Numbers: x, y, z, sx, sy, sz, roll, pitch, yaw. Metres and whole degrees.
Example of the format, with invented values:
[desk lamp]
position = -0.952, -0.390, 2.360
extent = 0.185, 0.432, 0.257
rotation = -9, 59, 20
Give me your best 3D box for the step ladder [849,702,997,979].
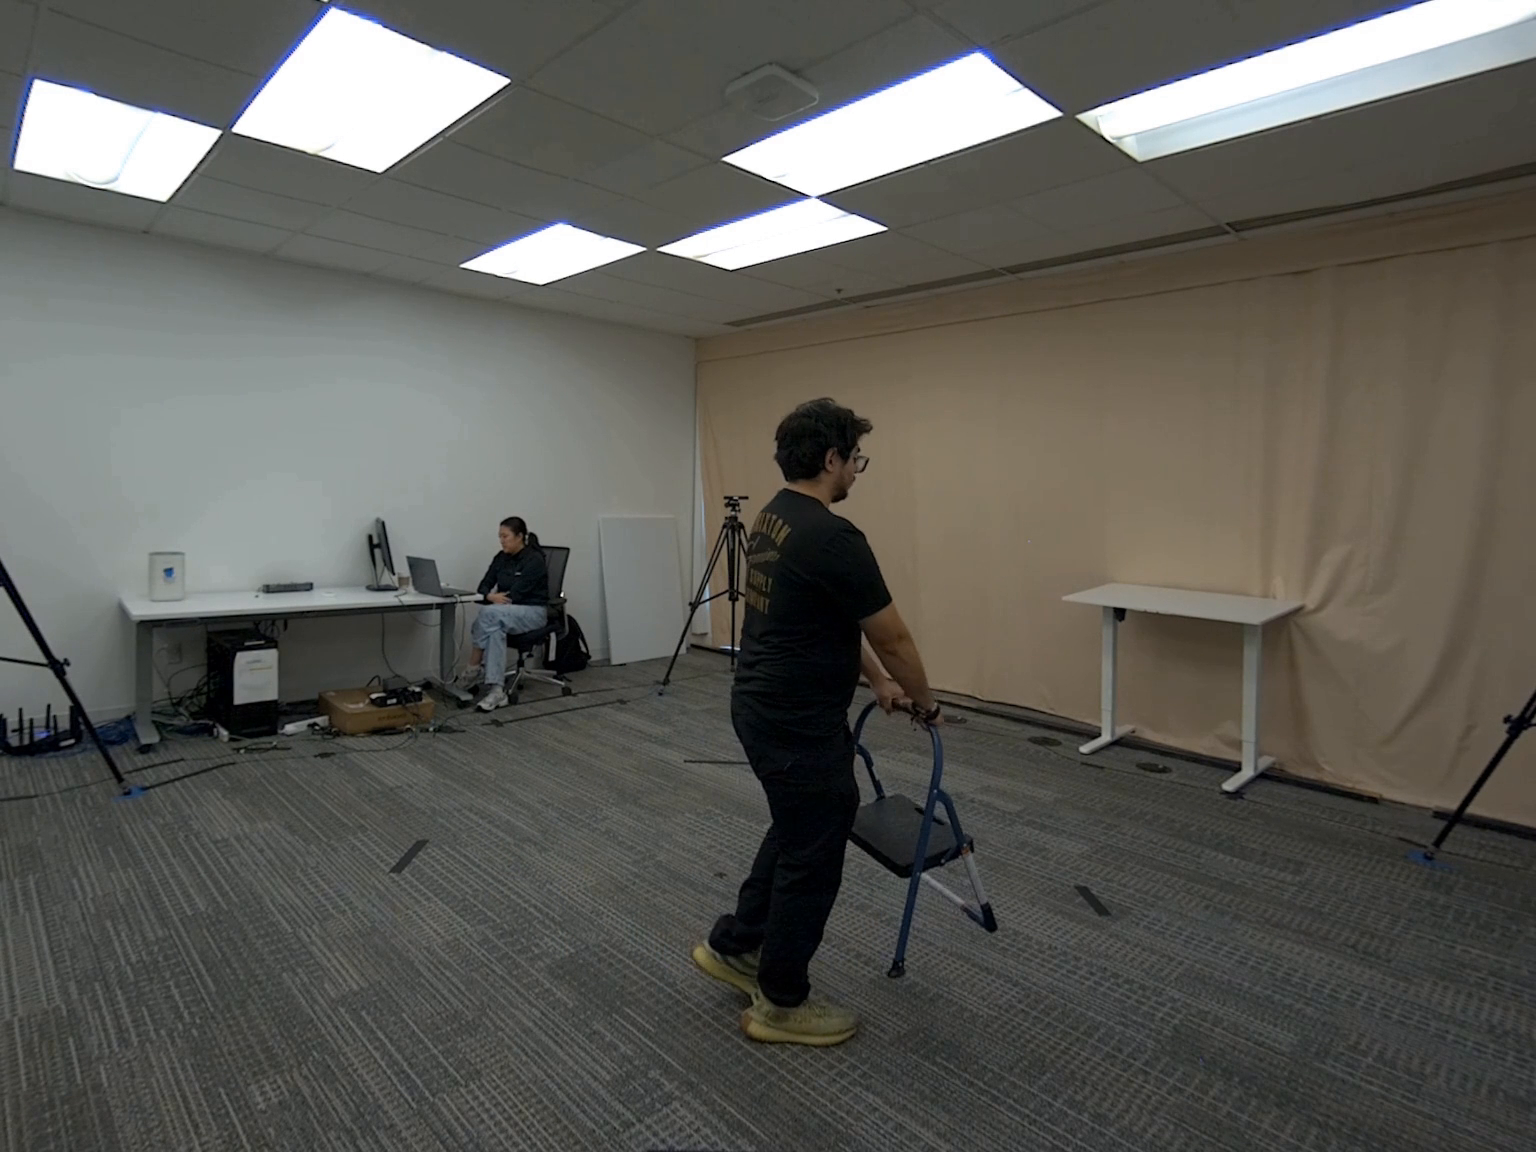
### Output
[step ladder]
position = 0.341, 0.673, 2.335
extent = 0.344, 0.602, 0.440
rotation = -11, 10, -24
